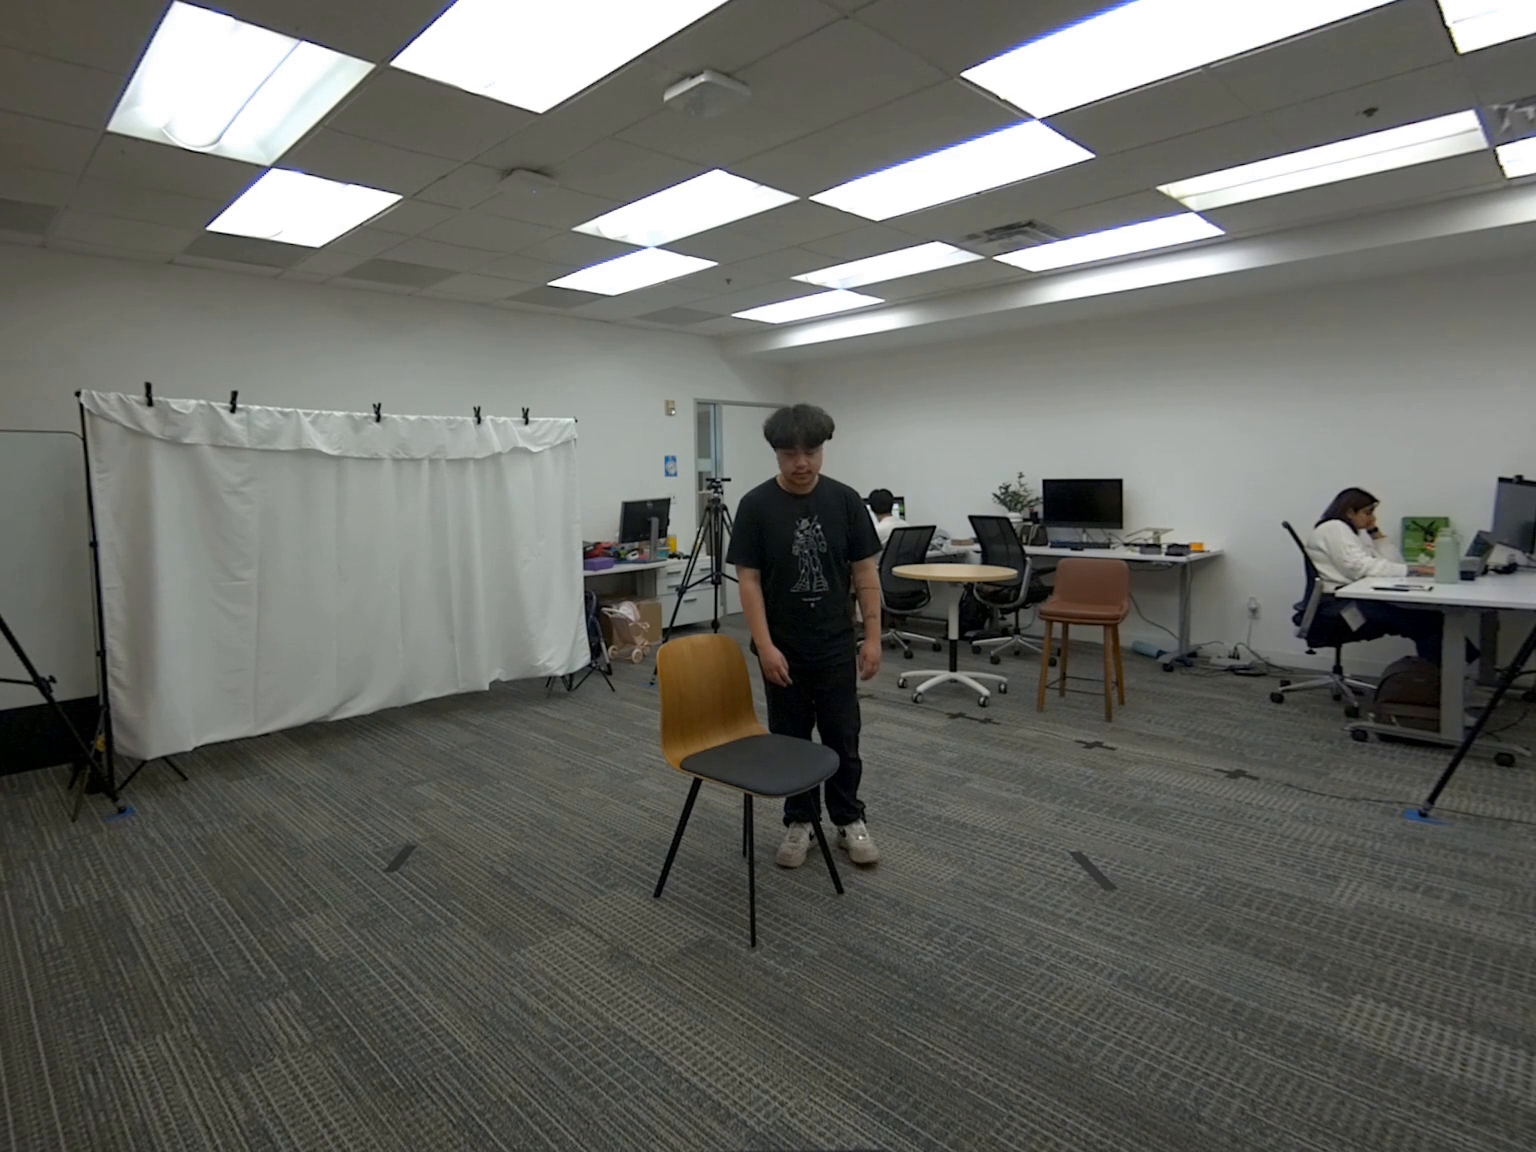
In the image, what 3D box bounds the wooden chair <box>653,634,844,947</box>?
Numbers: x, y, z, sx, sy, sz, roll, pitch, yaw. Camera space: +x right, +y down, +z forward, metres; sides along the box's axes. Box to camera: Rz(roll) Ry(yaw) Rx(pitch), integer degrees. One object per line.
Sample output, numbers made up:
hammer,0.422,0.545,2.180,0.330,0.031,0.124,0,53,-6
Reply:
wooden chair,-0.067,0.648,2.822,0.538,0.877,0.465,-3,1,44
